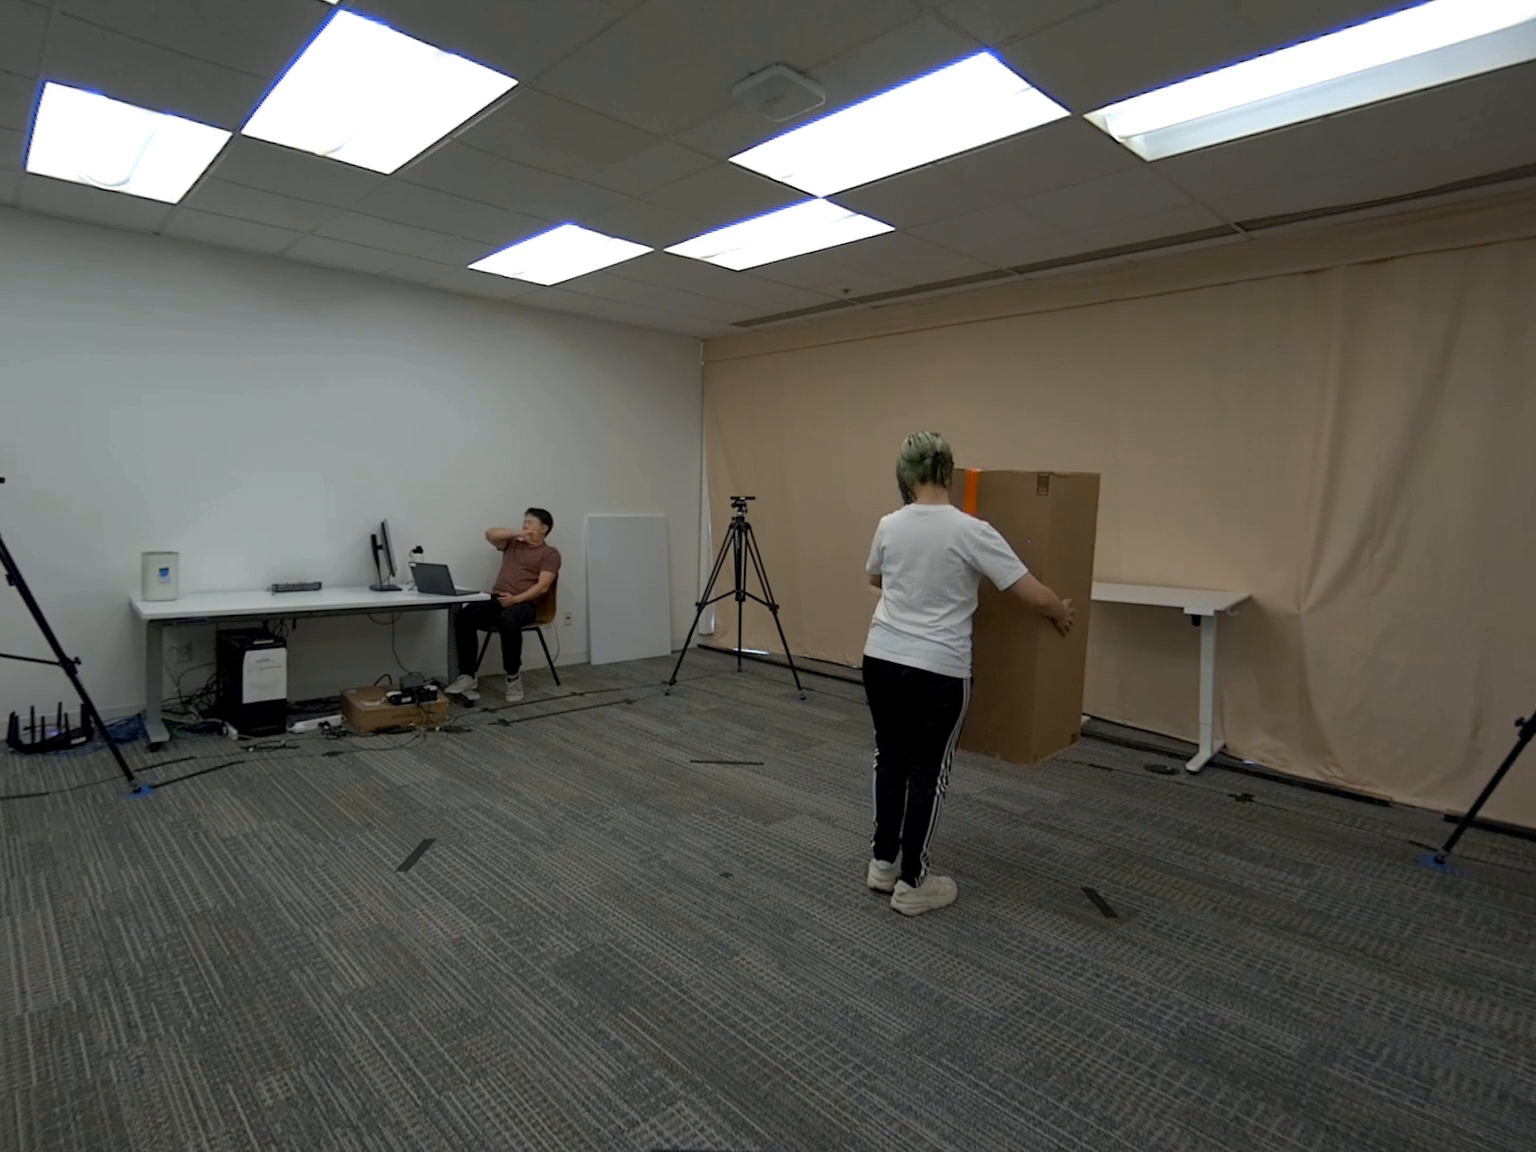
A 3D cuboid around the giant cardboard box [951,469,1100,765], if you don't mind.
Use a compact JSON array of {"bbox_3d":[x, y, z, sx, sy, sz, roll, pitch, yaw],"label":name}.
[{"bbox_3d":[0.845,0.115,3.186,0.599,1.023,0.437,7,7,43],"label":"giant cardboard box"}]
